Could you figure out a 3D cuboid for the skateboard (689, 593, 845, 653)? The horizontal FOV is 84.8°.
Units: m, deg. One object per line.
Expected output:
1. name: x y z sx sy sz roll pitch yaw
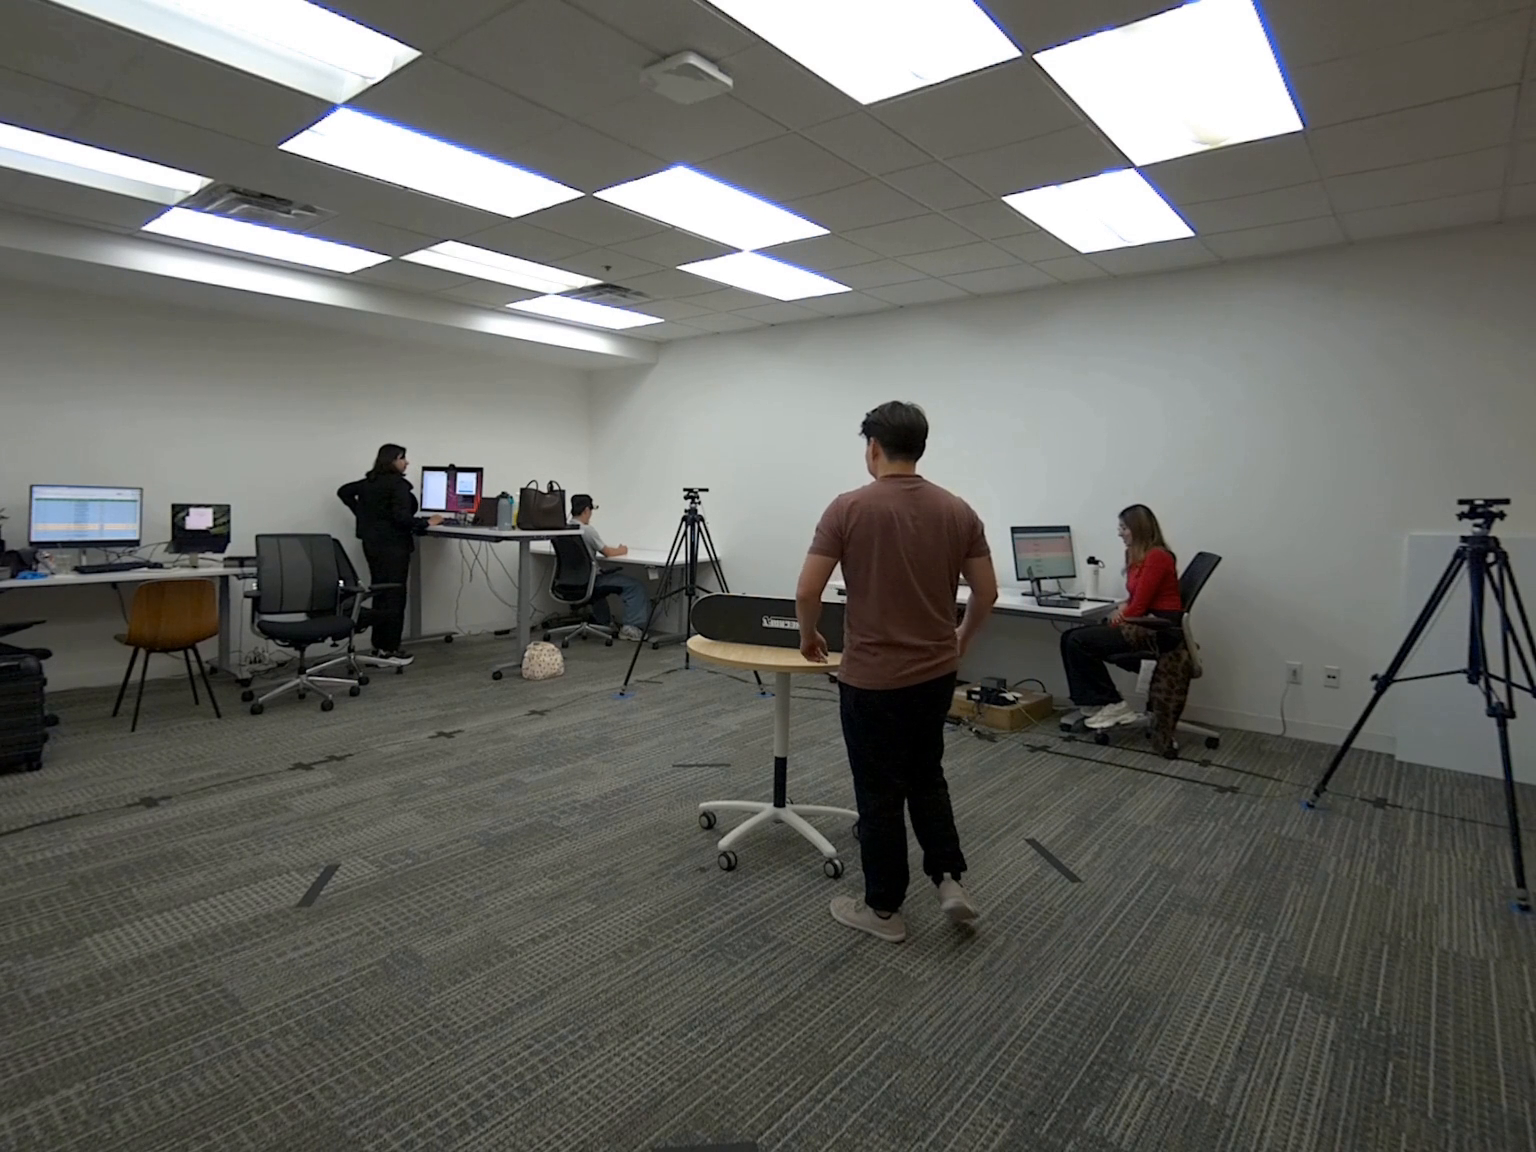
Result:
1. skateboard: 0.065 0.177 3.290 0.802 0.193 0.108 4 2 20
